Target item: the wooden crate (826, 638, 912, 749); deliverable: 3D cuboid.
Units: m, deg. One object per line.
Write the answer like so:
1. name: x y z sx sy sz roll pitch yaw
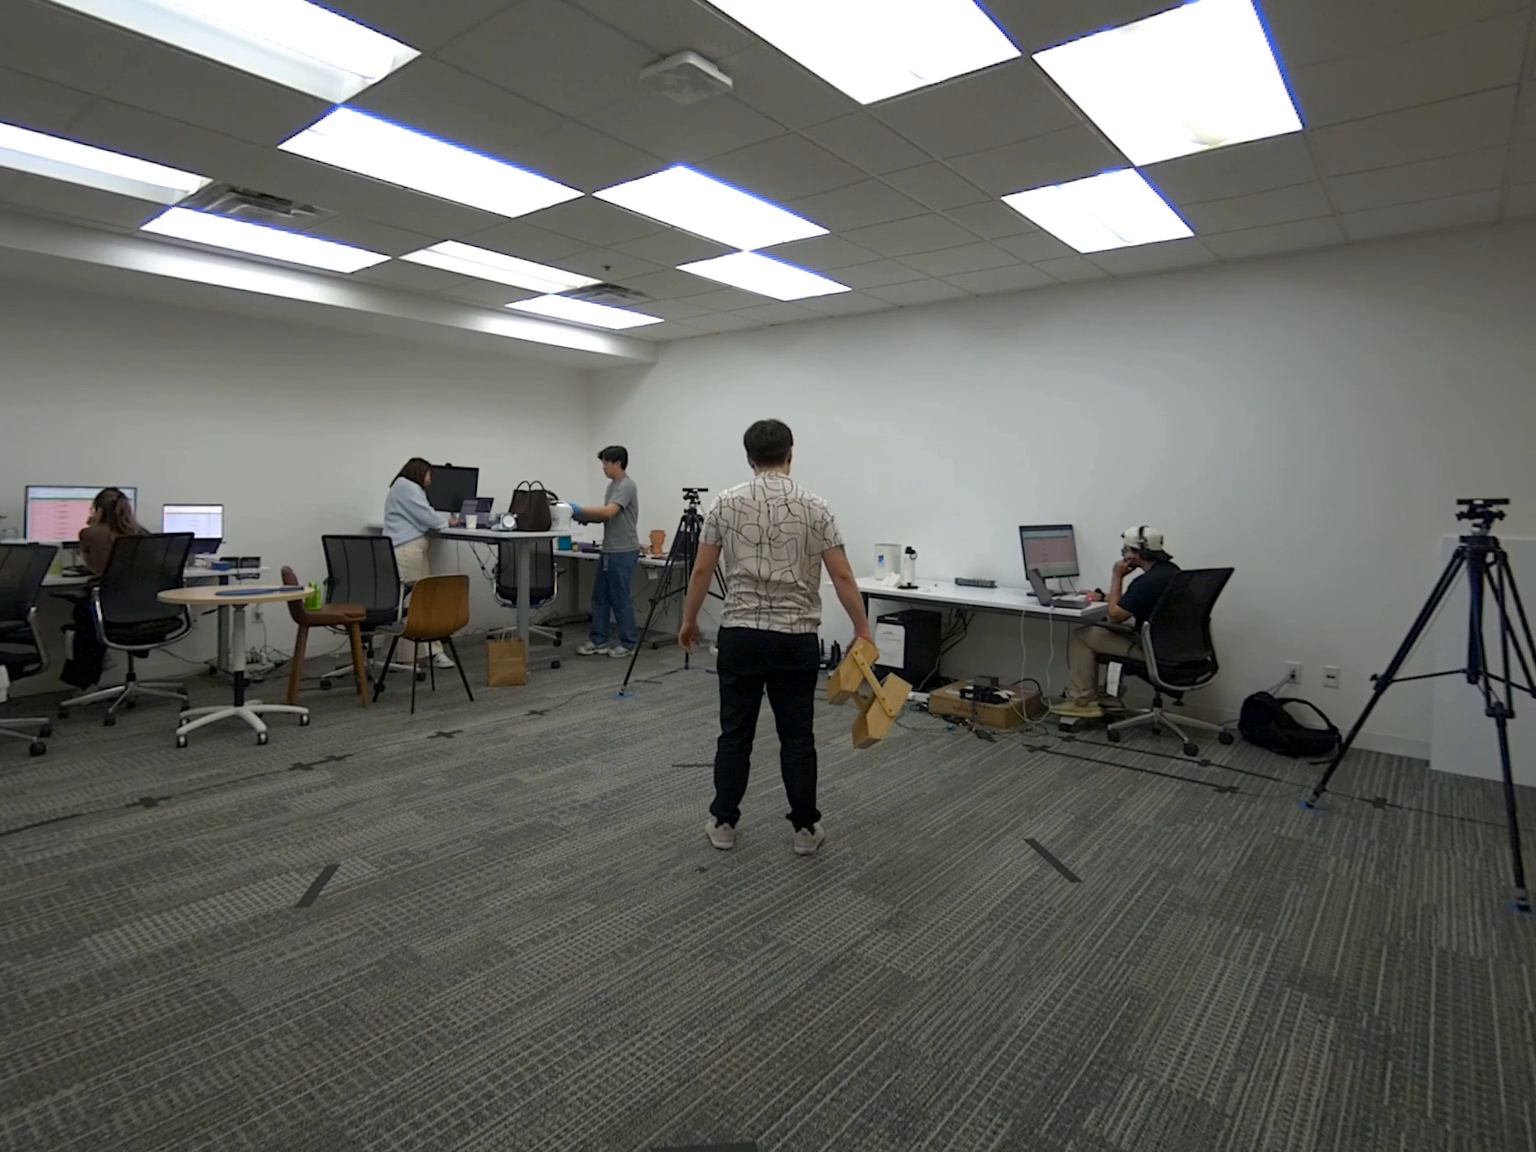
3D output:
1. wooden crate: 0.345 0.457 3.266 0.276 0.302 0.320 35 -19 6
